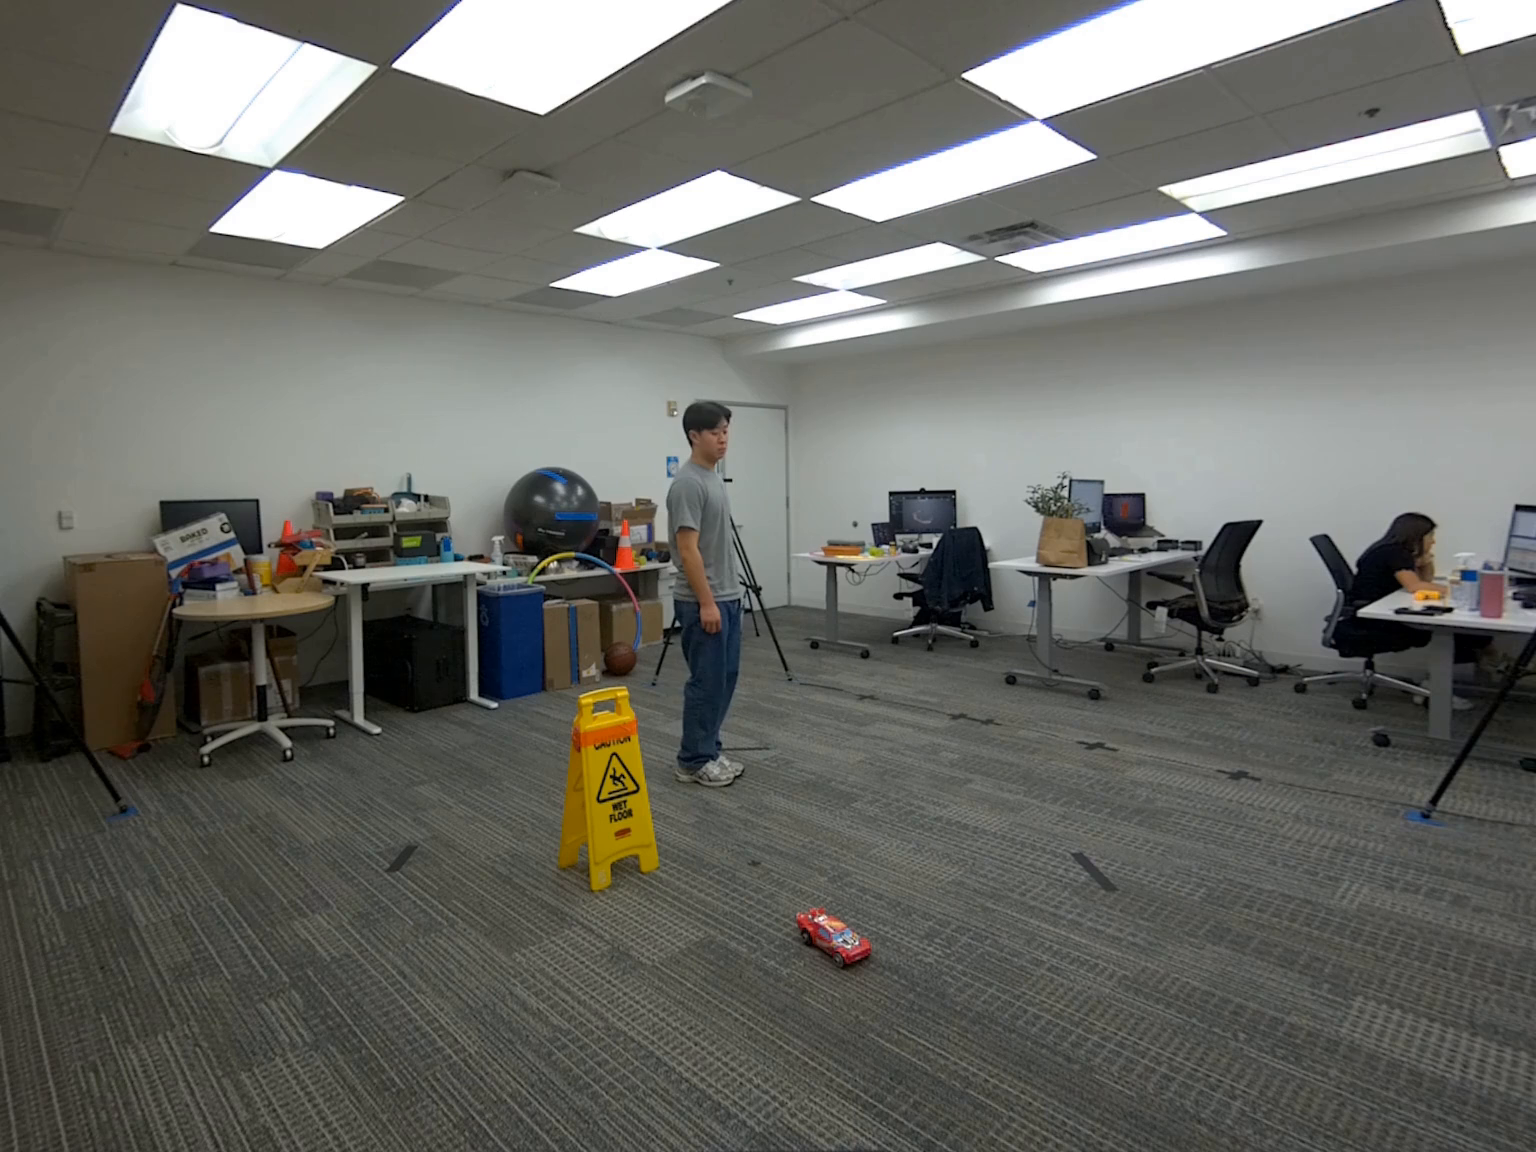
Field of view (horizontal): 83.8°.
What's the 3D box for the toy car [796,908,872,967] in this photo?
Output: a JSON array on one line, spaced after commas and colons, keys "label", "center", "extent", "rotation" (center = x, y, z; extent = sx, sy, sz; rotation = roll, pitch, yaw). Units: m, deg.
[{"label": "toy car", "center": [0.195, 1.074, 2.542], "extent": [0.127, 0.082, 0.264], "rotation": [-6, 19, -35]}]
